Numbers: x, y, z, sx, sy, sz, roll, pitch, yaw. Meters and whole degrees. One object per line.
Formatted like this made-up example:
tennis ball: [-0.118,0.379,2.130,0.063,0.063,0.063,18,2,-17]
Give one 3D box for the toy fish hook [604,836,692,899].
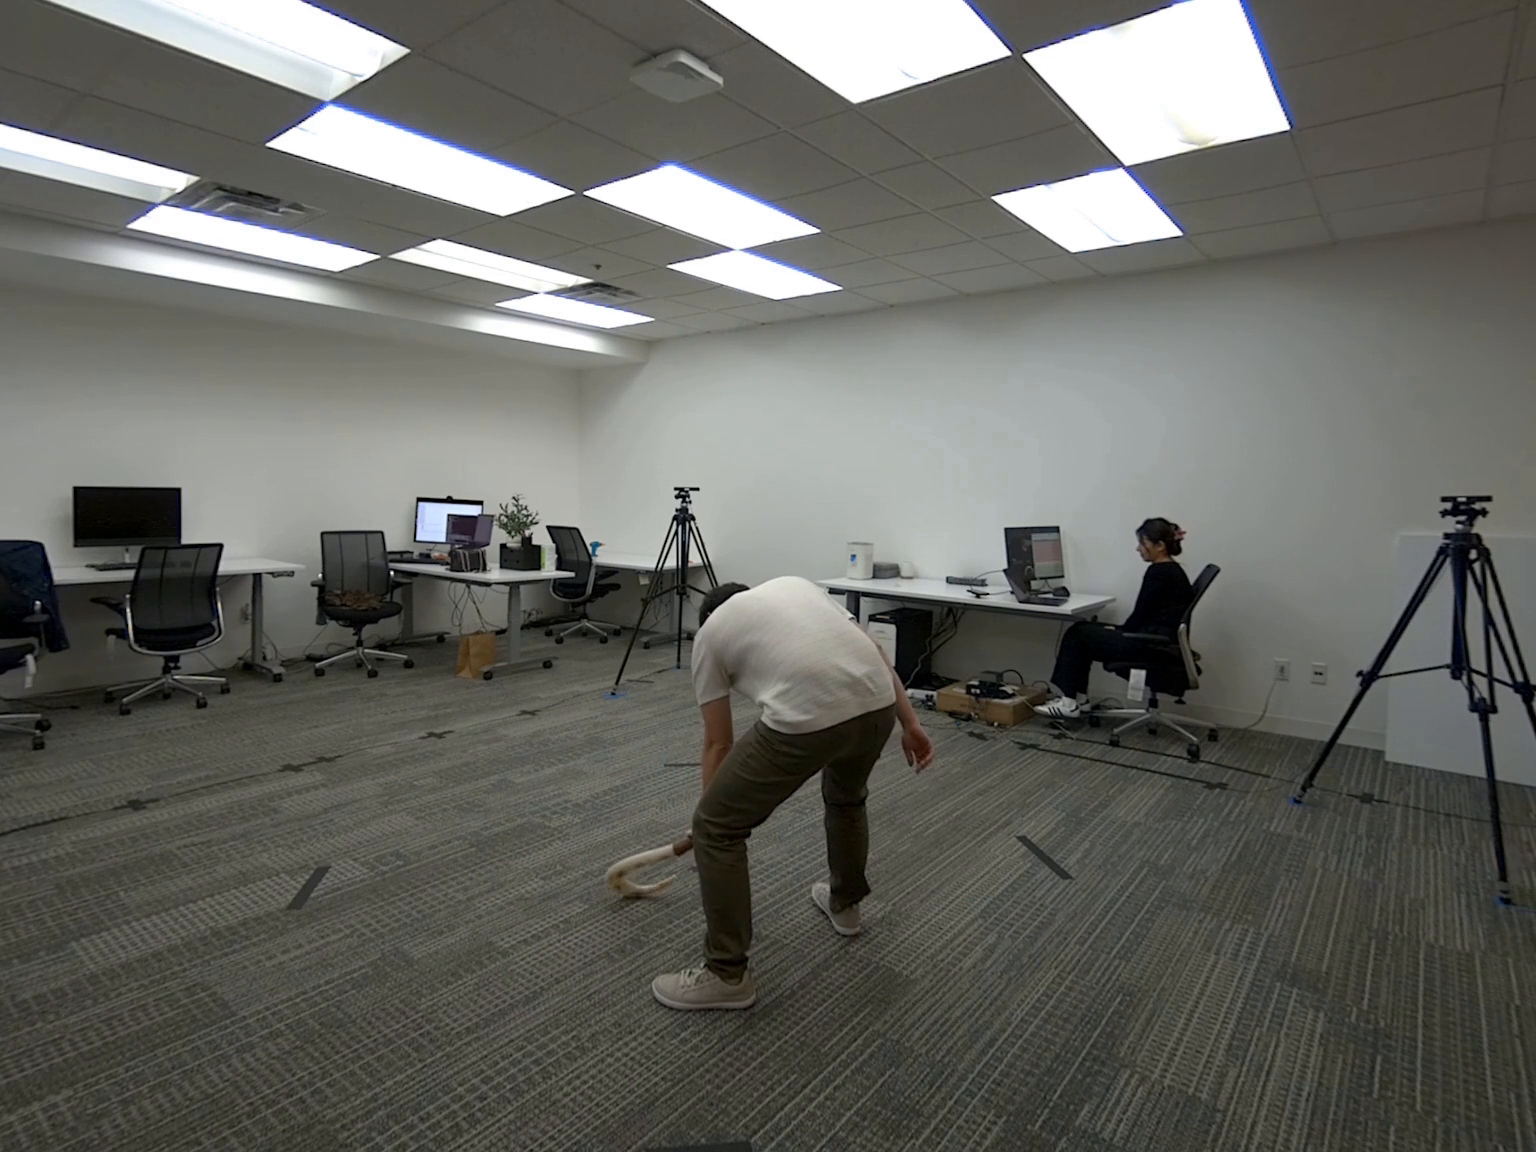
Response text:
toy fish hook: [-0.319,0.932,2.768,0.510,0.050,0.215,-32,-49,20]
